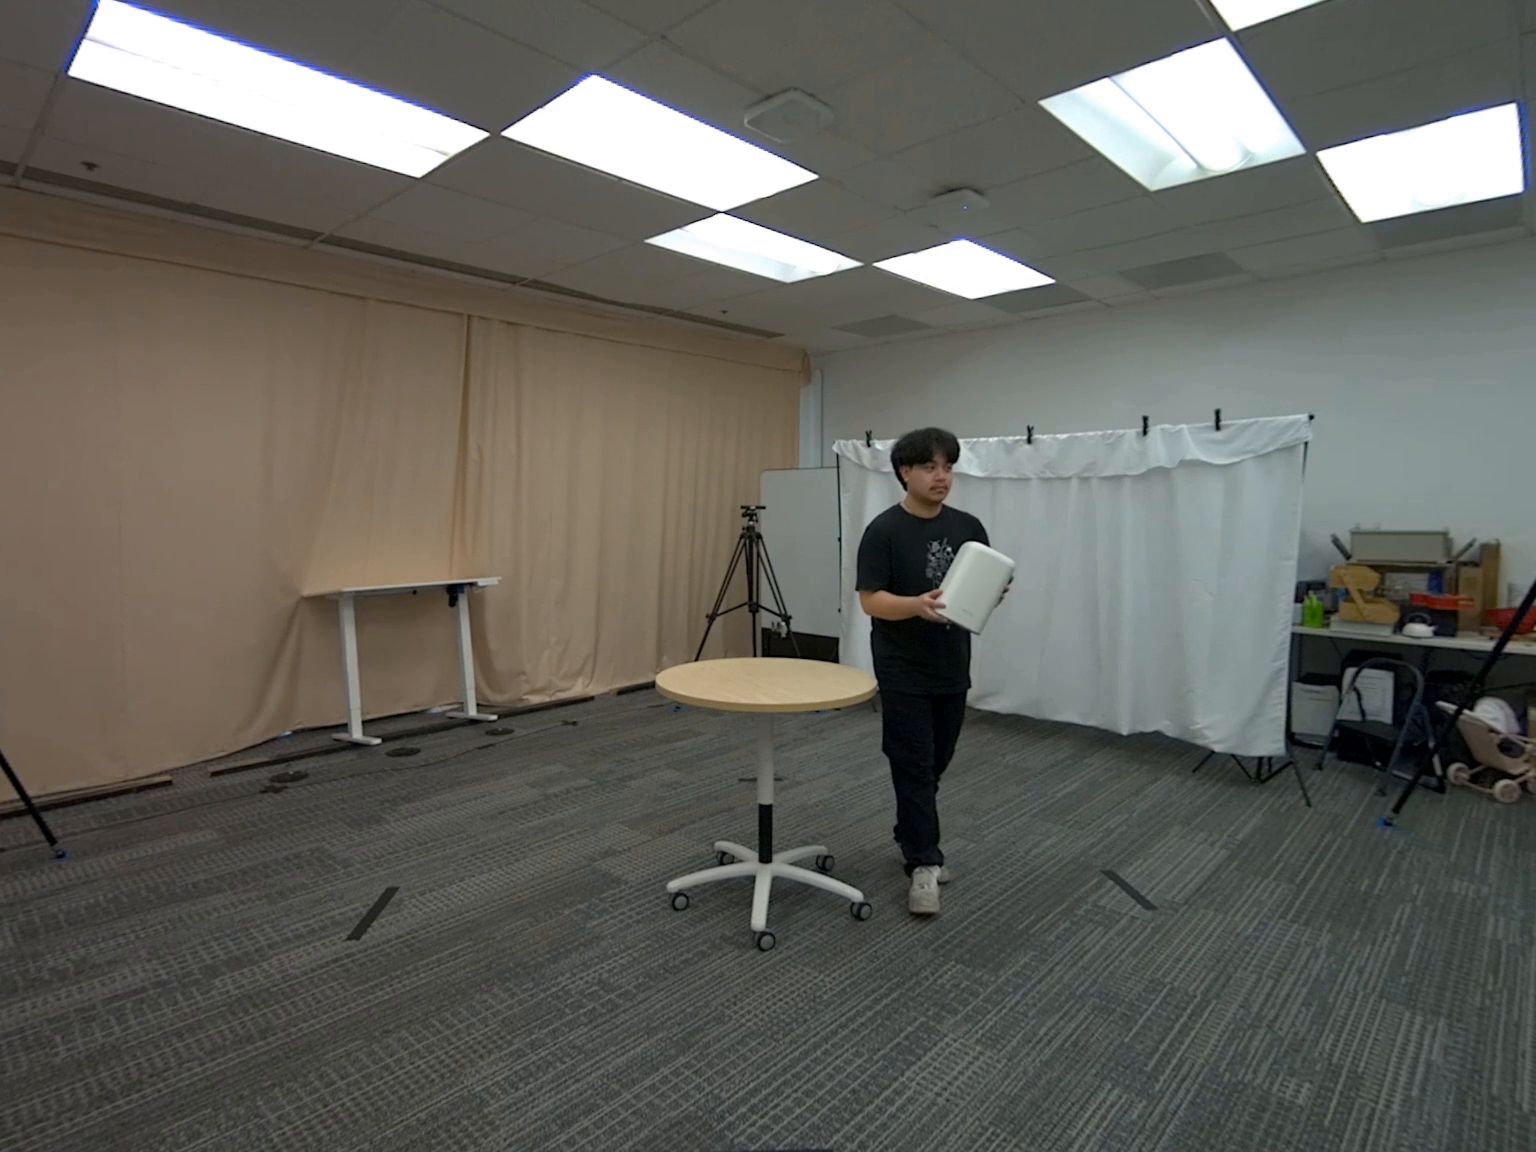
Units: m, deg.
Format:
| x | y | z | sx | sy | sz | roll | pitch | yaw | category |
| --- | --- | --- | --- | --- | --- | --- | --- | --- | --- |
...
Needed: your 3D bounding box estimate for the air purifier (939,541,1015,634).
| x | y | z | sx | sy | sz | roll | pitch | yaw | category |
| --- | --- | --- | --- | --- | --- | --- | --- | --- | --- |
| 0.670 | 0.034 | 2.752 | 0.172 | 0.265 | 0.171 | 25 | 0 | 1 | air purifier |
